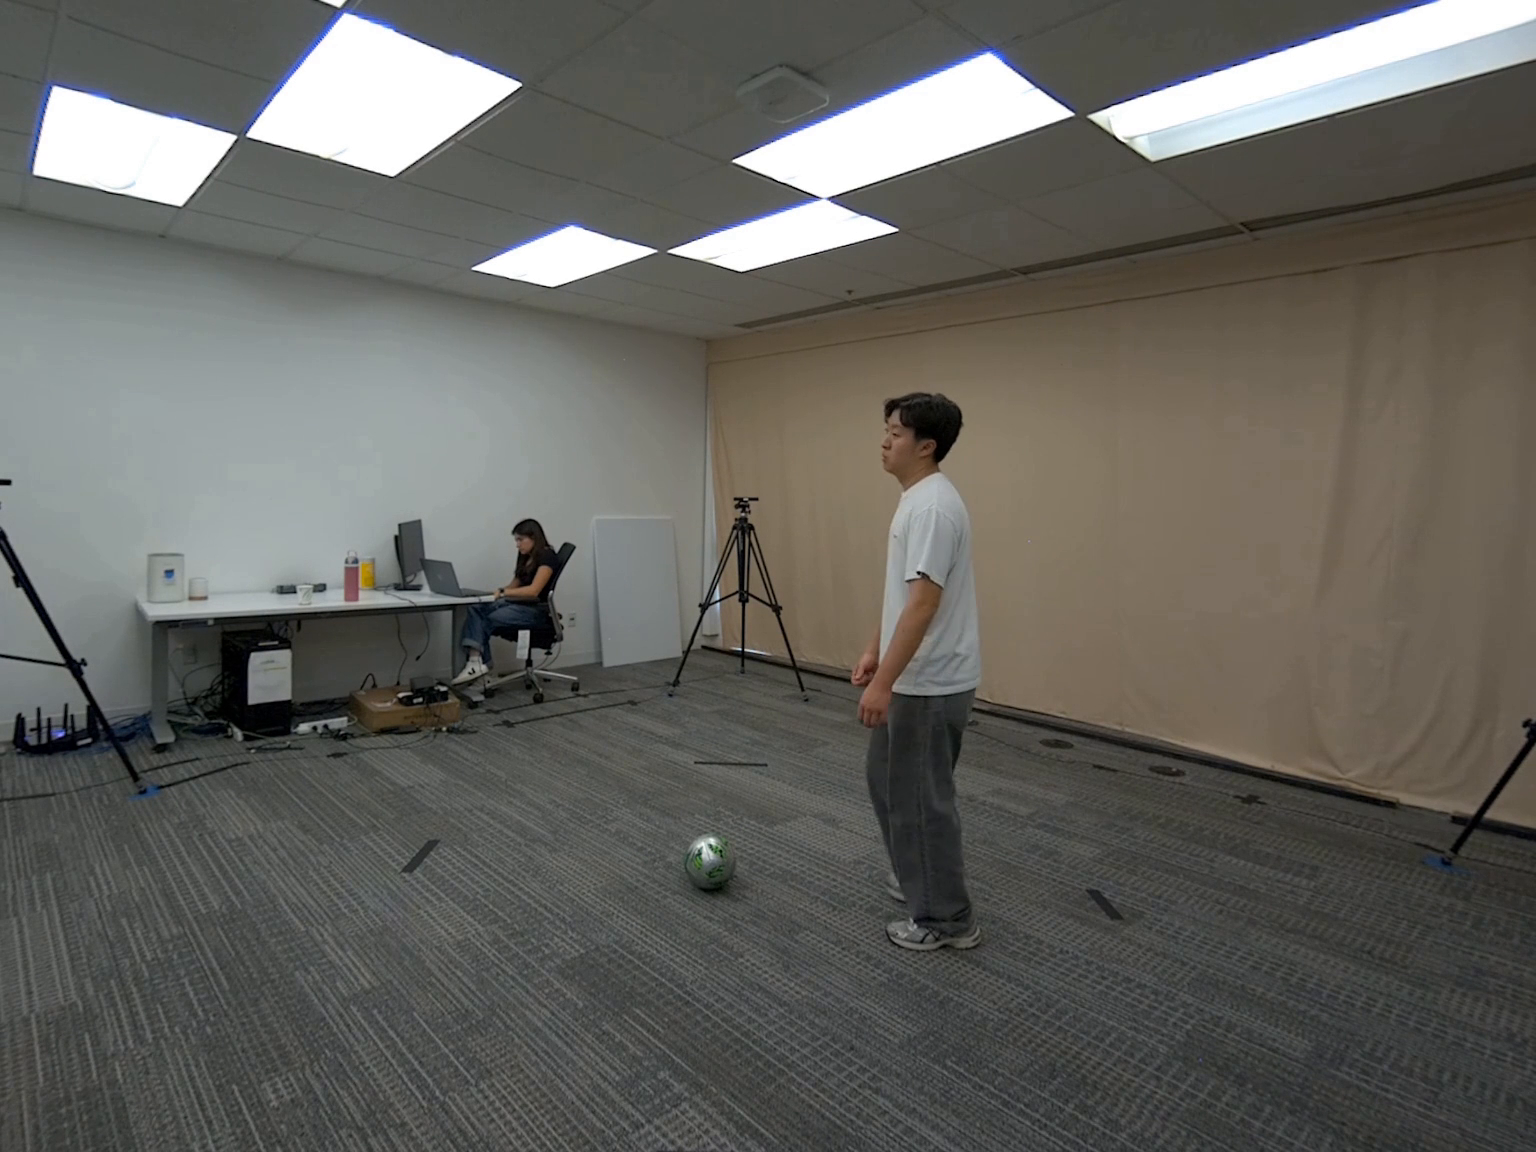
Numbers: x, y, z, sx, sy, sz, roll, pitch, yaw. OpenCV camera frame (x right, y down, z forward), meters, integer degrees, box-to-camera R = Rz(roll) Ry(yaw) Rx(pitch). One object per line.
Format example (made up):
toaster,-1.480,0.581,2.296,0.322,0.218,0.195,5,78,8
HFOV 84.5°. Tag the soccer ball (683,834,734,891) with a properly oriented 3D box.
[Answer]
soccer ball,-0.214,1.021,3.011,0.187,0.187,0.188,1,4,-1
